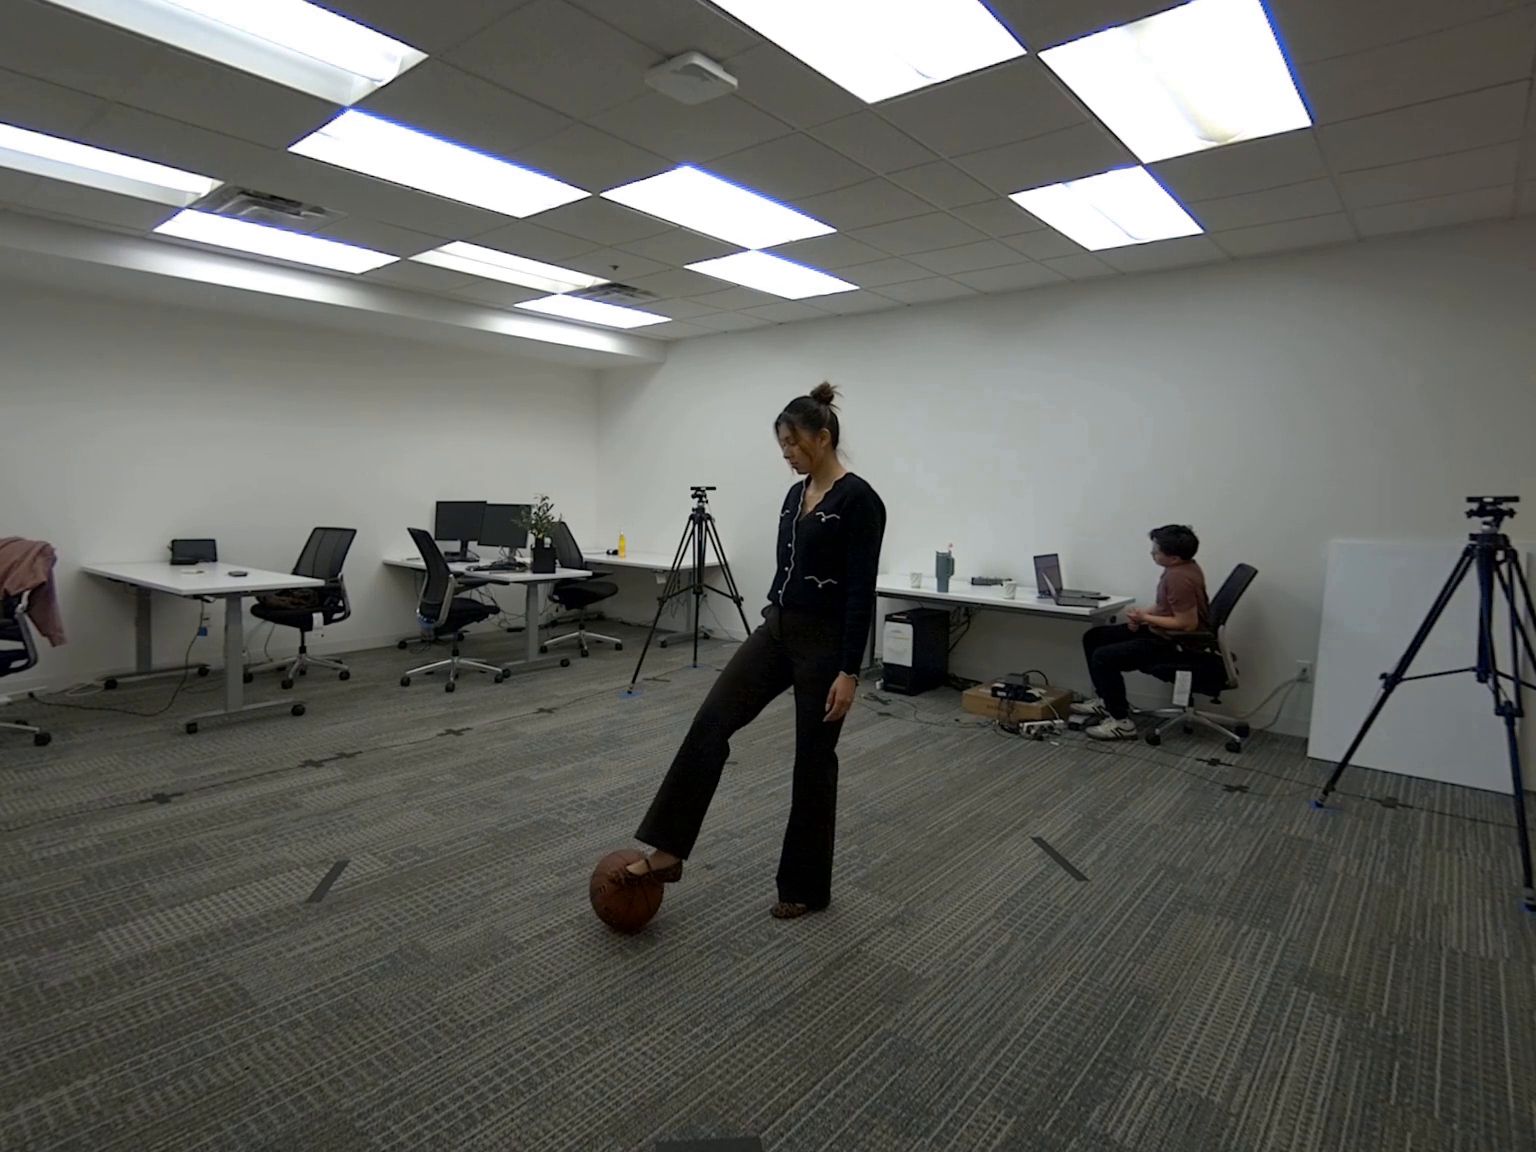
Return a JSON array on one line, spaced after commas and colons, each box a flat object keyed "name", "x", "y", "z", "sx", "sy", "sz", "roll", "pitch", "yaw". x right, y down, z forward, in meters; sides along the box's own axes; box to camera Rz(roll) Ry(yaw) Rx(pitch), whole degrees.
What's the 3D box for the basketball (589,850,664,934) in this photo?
[{"name": "basketball", "x": -0.468, "y": 0.981, "z": 2.697, "sx": 0.235, "sy": 0.235, "sz": 0.237, "roll": 1, "pitch": 4, "yaw": -2}]
